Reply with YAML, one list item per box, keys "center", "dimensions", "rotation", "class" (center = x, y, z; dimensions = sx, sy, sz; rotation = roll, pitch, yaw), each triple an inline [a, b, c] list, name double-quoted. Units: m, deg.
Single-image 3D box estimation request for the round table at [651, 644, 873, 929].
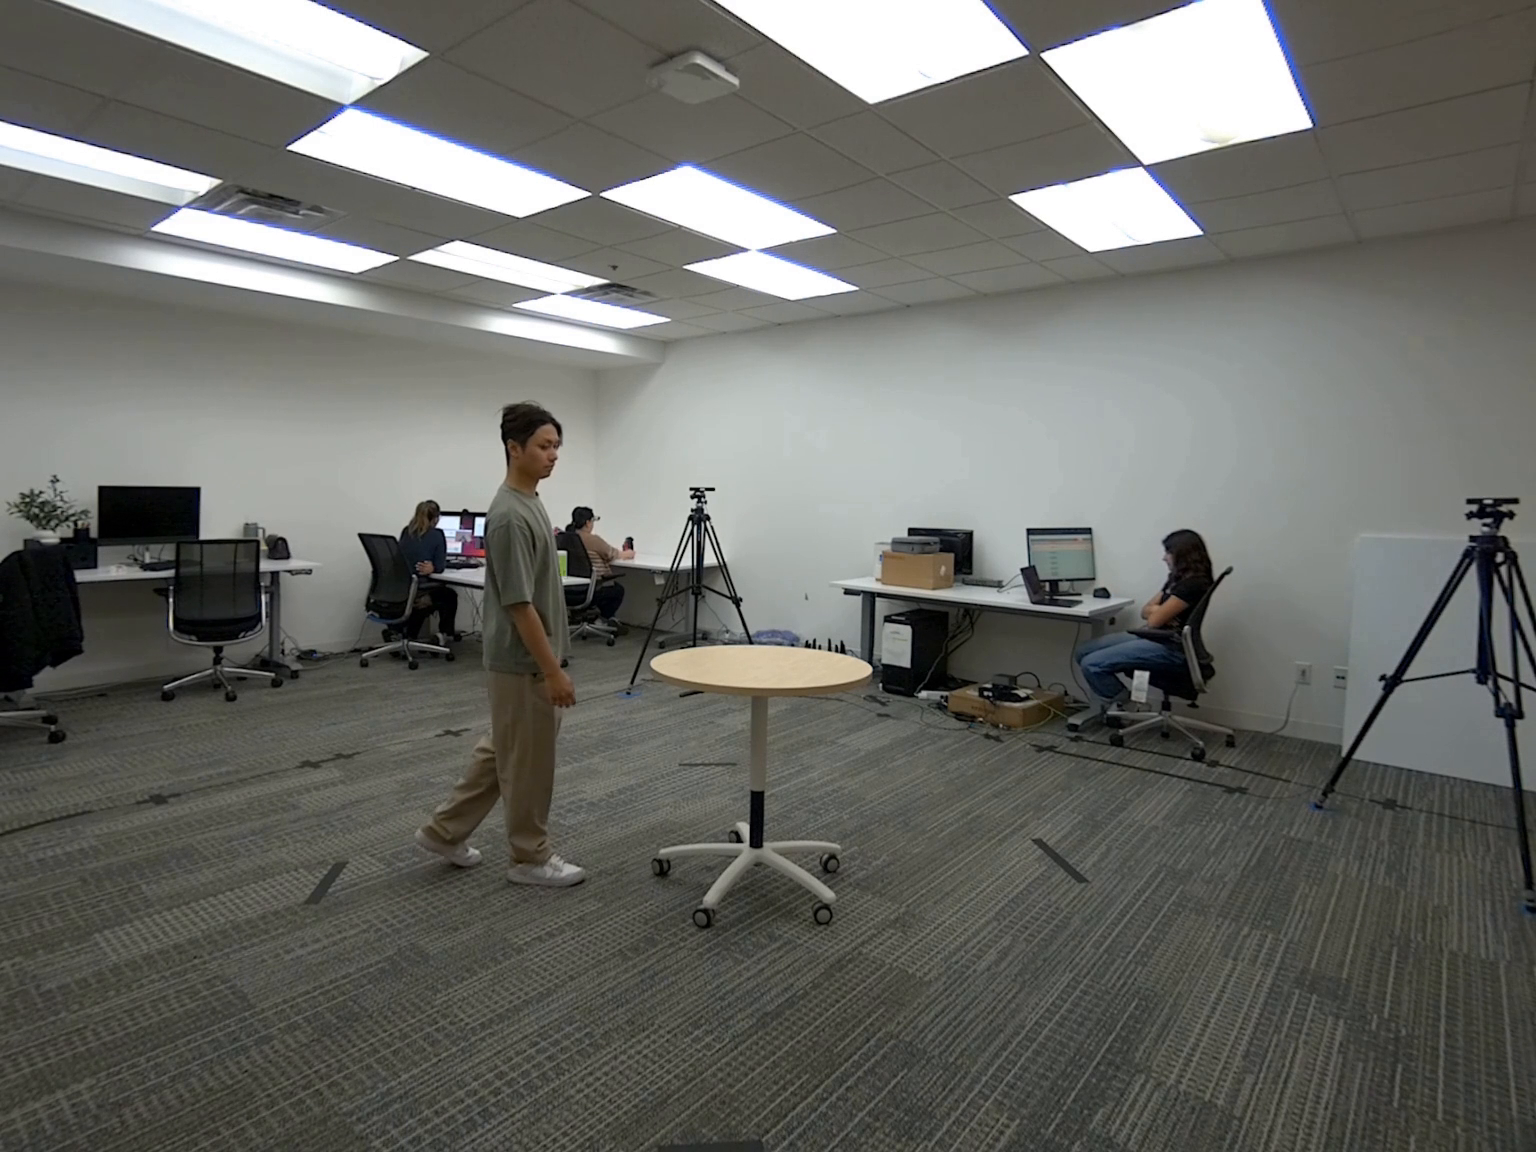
- center: [-0.038, 0.696, 2.952]
  dimensions: [0.784, 0.784, 0.789]
  rotation: [1, 4, -2]
  class: "round table"
